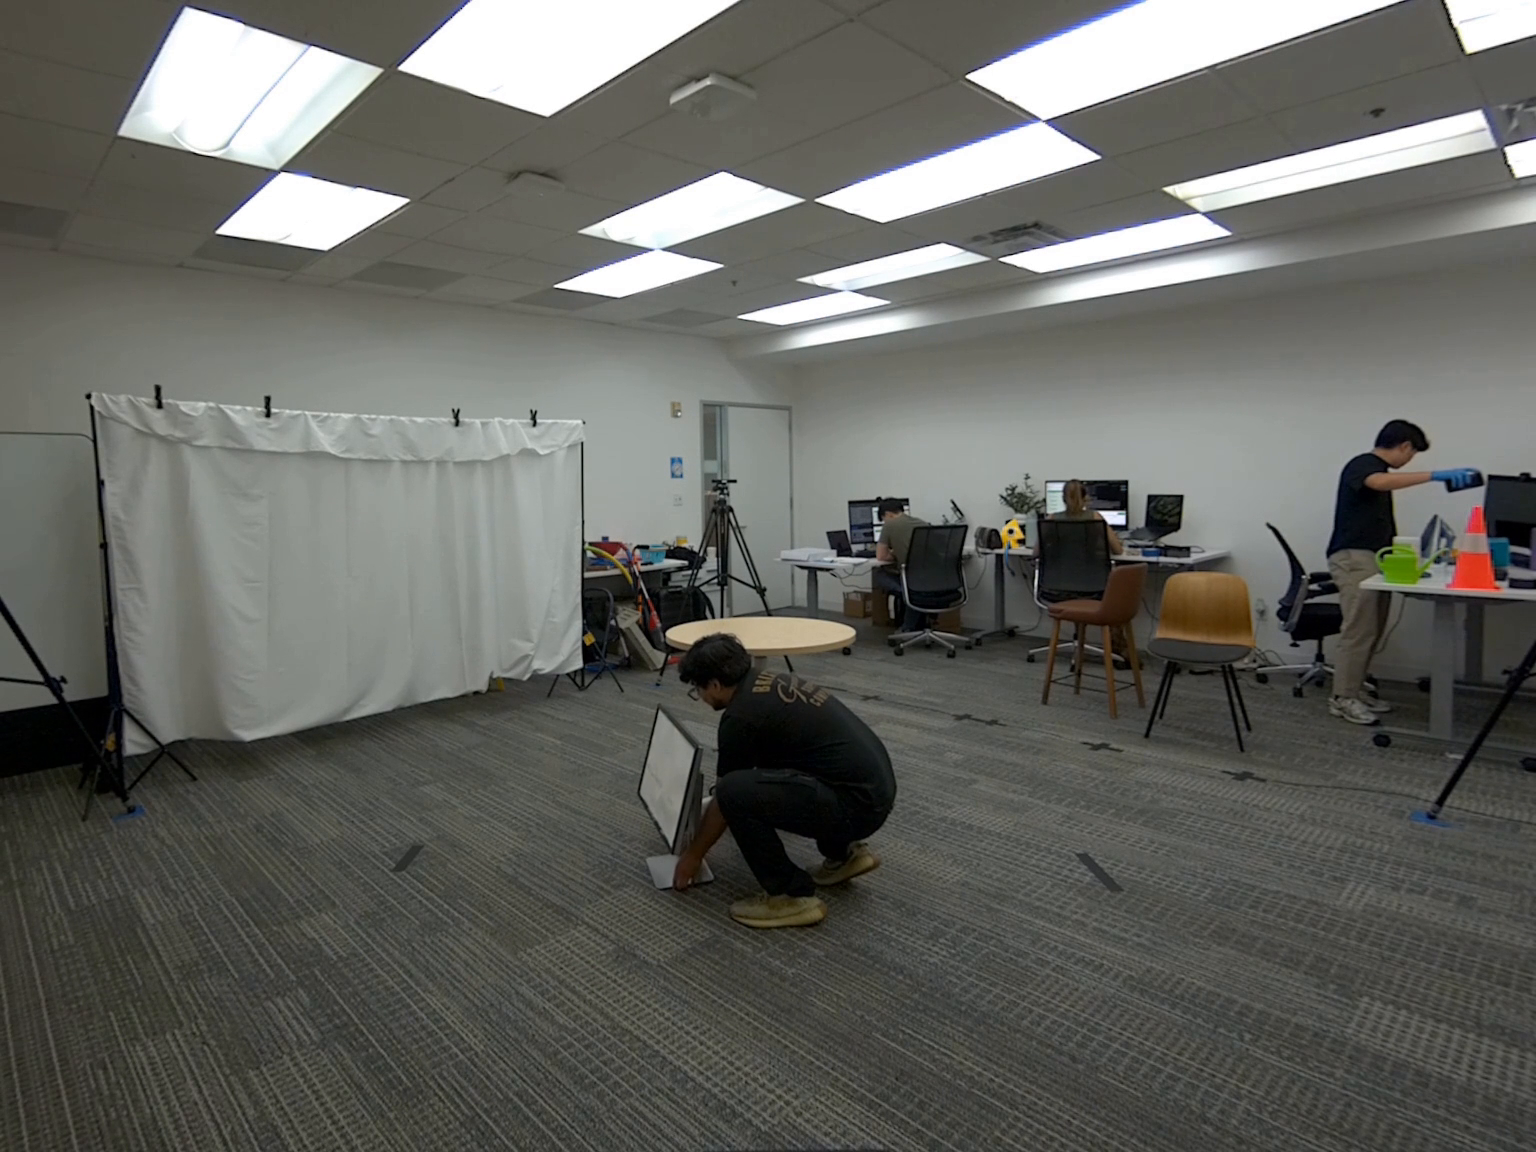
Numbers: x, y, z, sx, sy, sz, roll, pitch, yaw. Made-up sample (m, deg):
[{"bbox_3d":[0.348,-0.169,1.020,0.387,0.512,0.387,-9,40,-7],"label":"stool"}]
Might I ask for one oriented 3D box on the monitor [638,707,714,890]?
[{"bbox_3d":[-0.293,0.787,3.044,0.206,0.553,0.578,5,3,-21],"label":"monitor"}]
